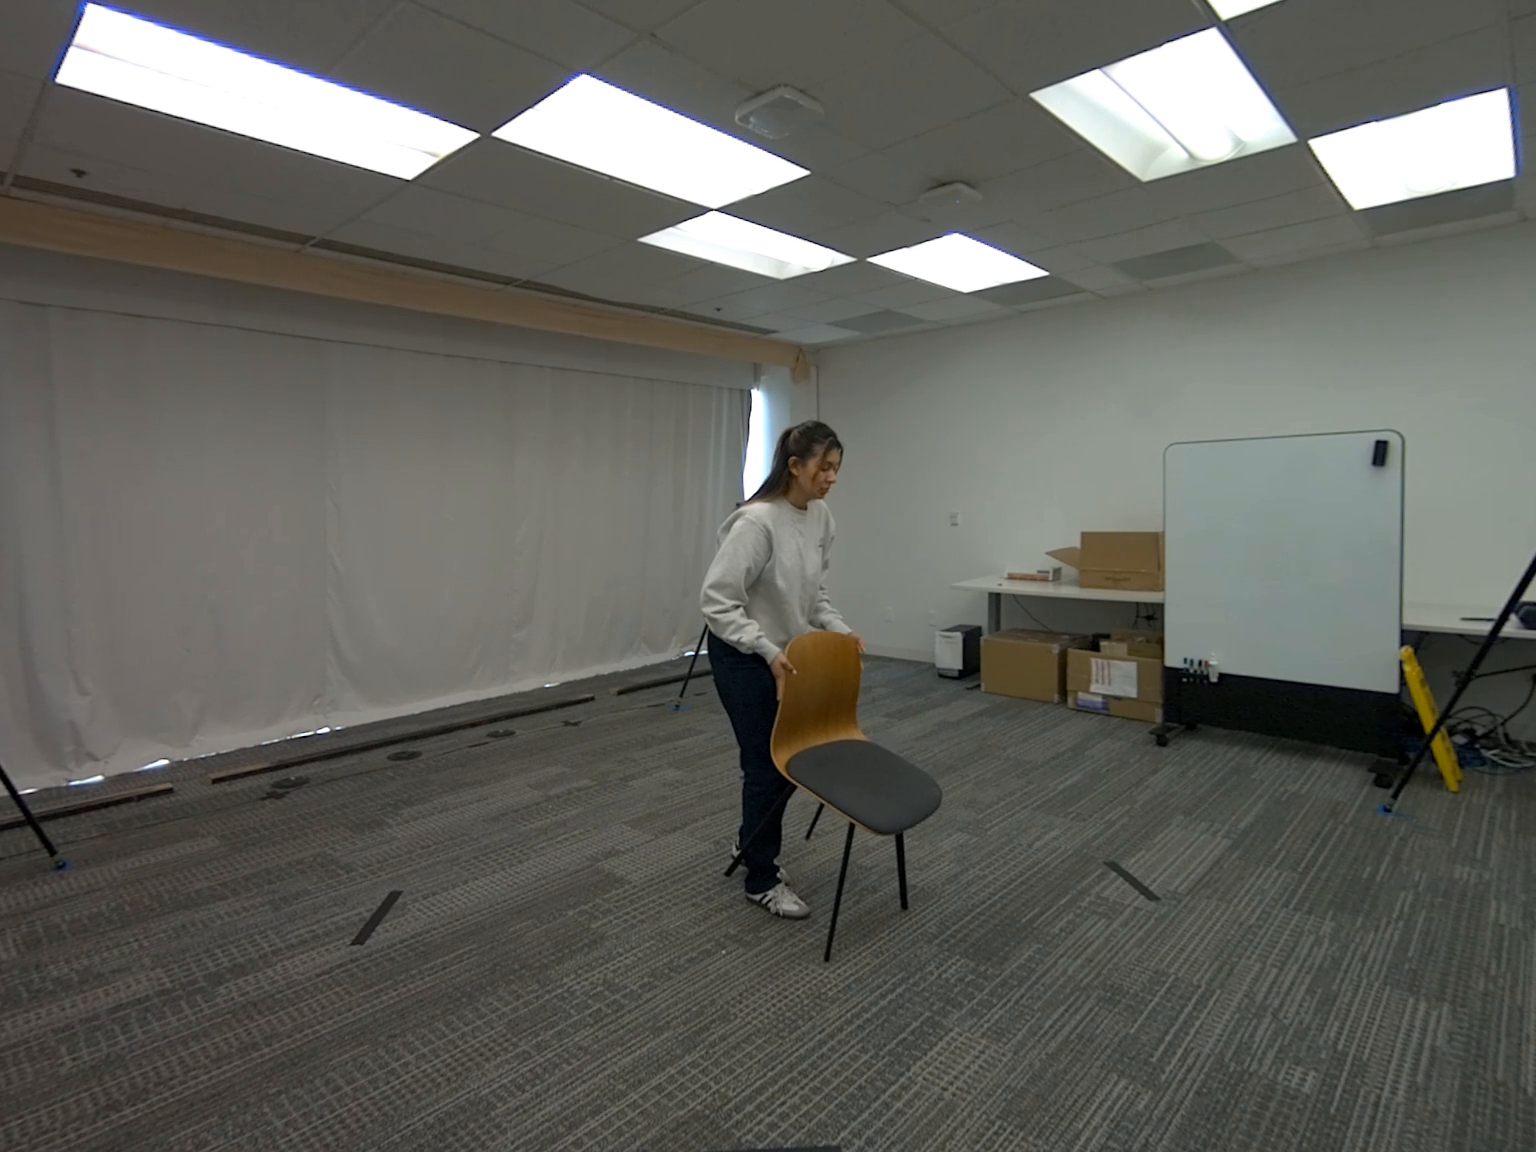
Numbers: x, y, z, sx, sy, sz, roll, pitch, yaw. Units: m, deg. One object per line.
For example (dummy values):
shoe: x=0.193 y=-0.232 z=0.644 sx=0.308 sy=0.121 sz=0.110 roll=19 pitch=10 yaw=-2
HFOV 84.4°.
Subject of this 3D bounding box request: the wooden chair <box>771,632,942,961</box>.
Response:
wooden chair: x=0.276 y=0.680 z=2.730 sx=0.542 sy=0.872 sz=0.463 roll=20 pitch=17 yaw=40
